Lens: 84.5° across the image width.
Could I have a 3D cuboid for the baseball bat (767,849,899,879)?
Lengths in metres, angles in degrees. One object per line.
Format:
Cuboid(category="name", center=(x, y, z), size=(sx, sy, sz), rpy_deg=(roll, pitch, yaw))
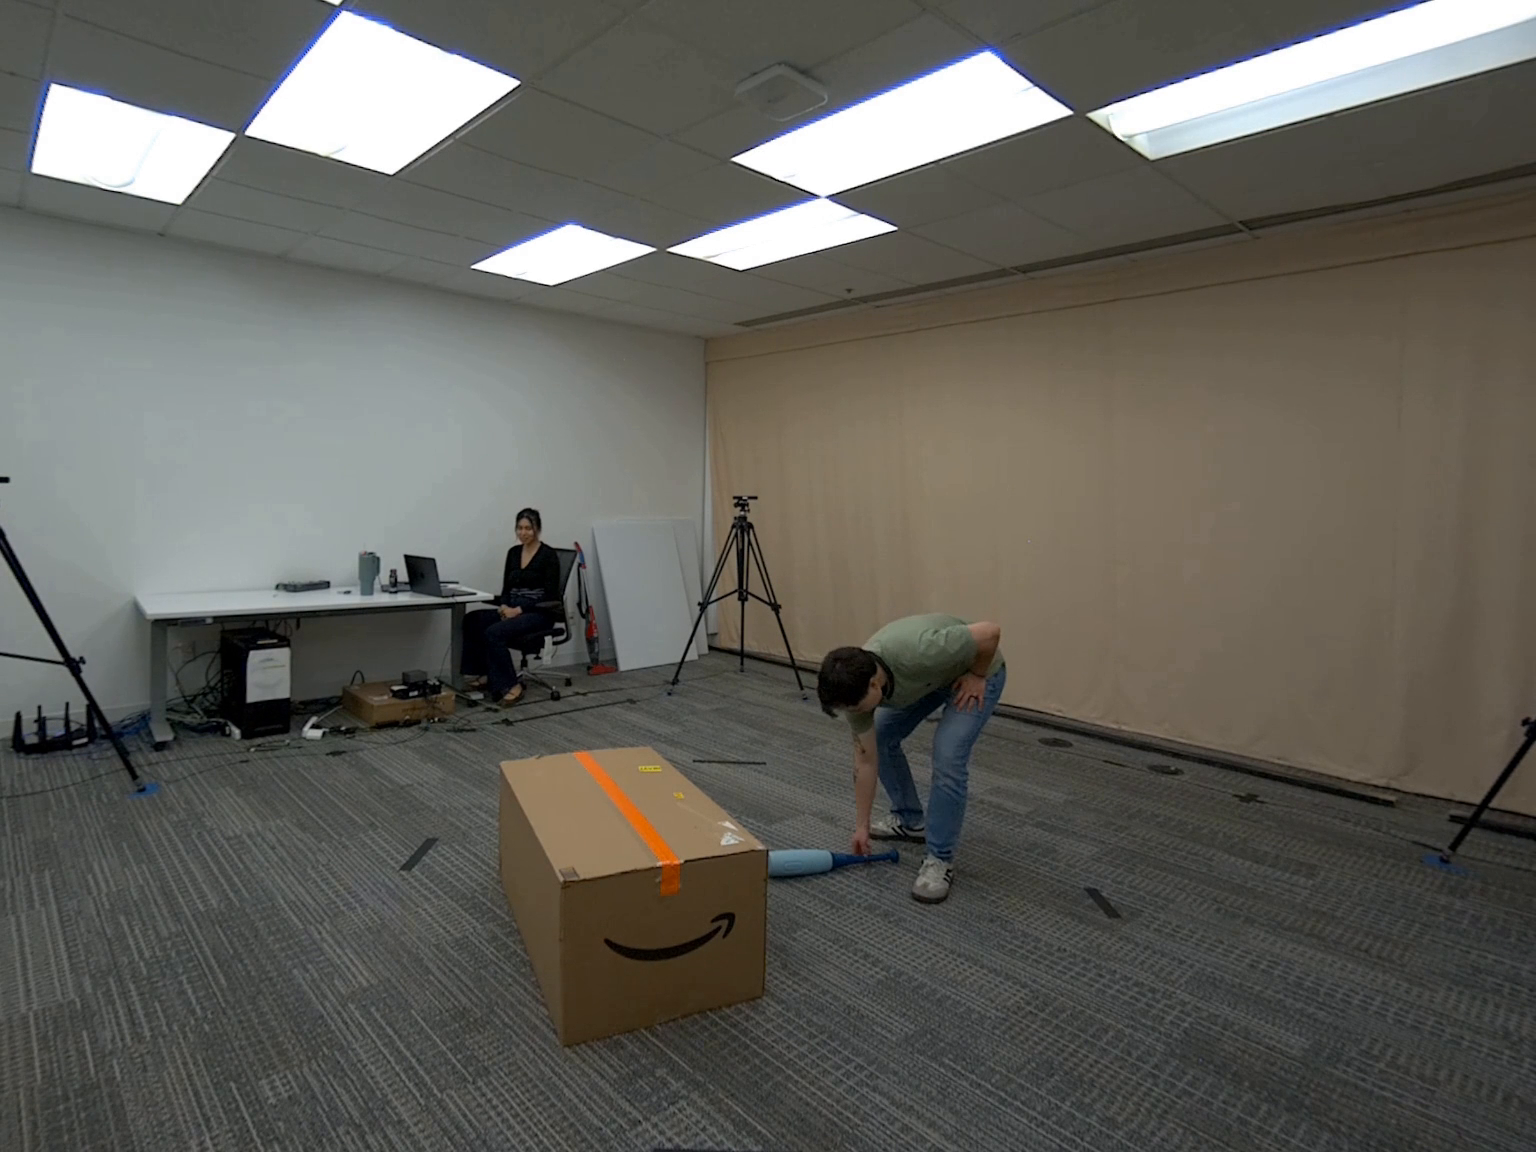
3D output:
Cuboid(category="baseball bat", center=(0.242, 1.065, 3.166), size=(0.535, 0.089, 0.090), rpy_deg=(3, 4, -18))
